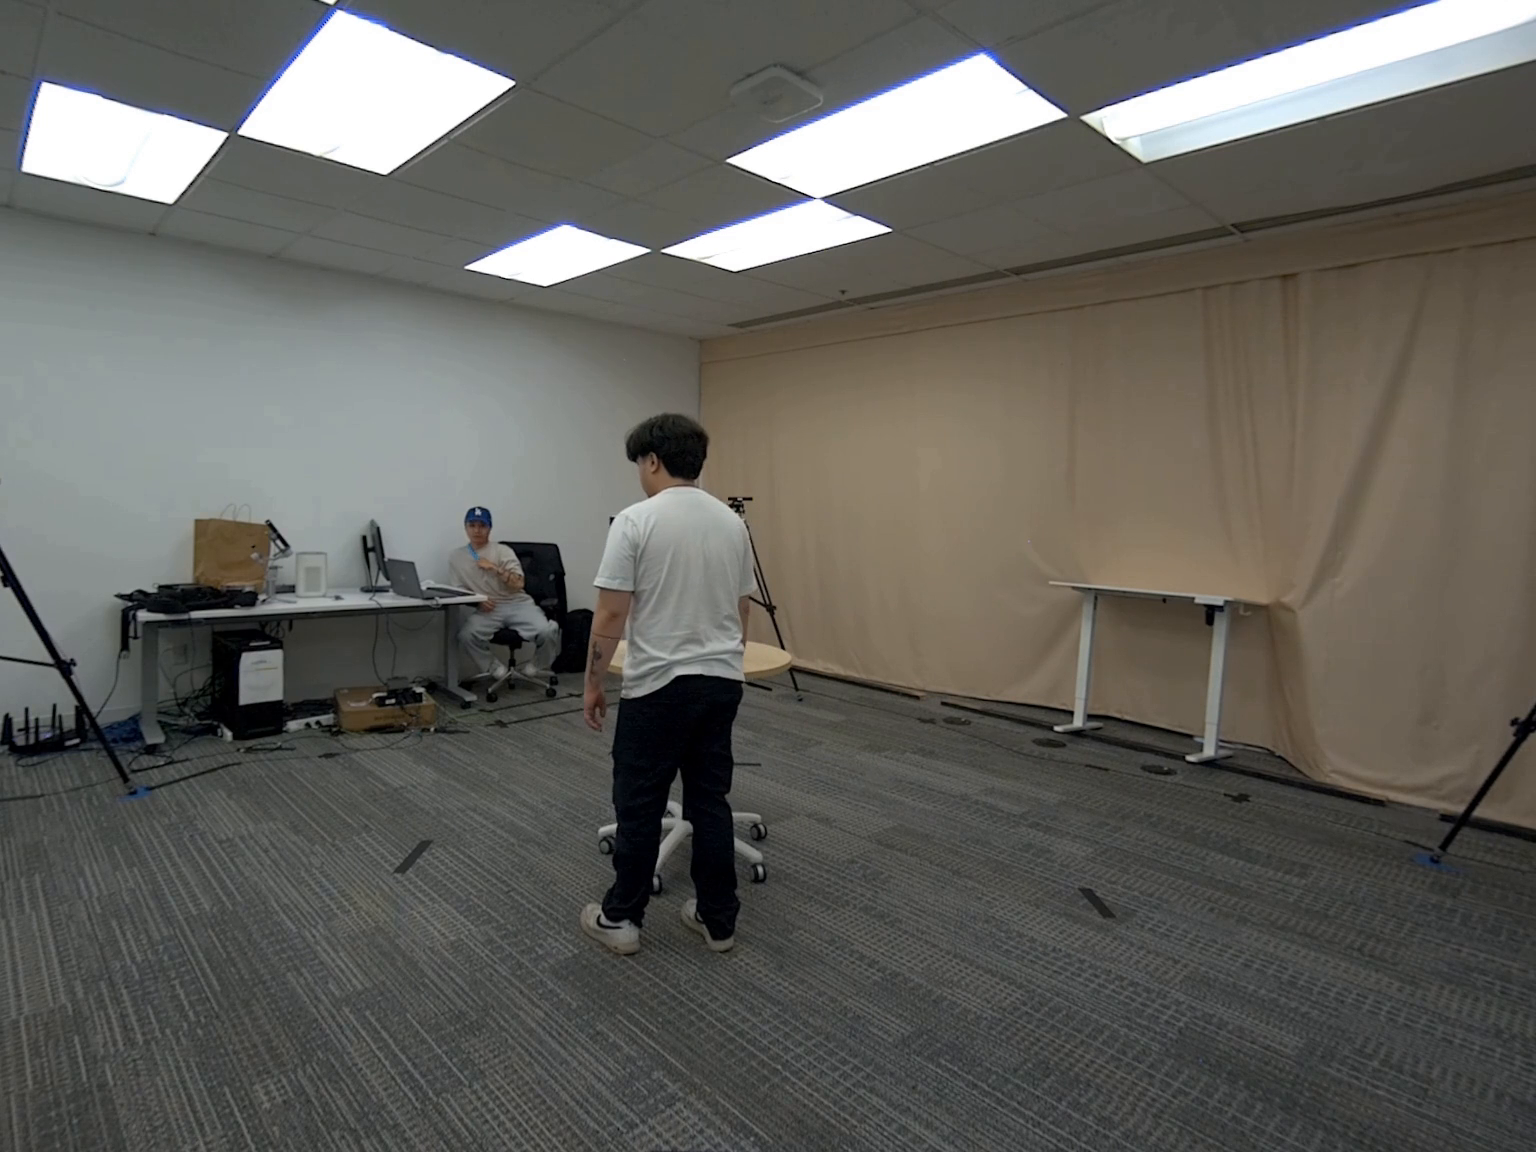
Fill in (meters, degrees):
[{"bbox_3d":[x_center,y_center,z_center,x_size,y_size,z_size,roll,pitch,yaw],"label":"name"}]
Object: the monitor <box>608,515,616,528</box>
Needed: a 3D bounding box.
[{"bbox_3d":[-0.369,0.054,3.127,0.575,0.551,0.207,3,8,22],"label":"monitor"}]
